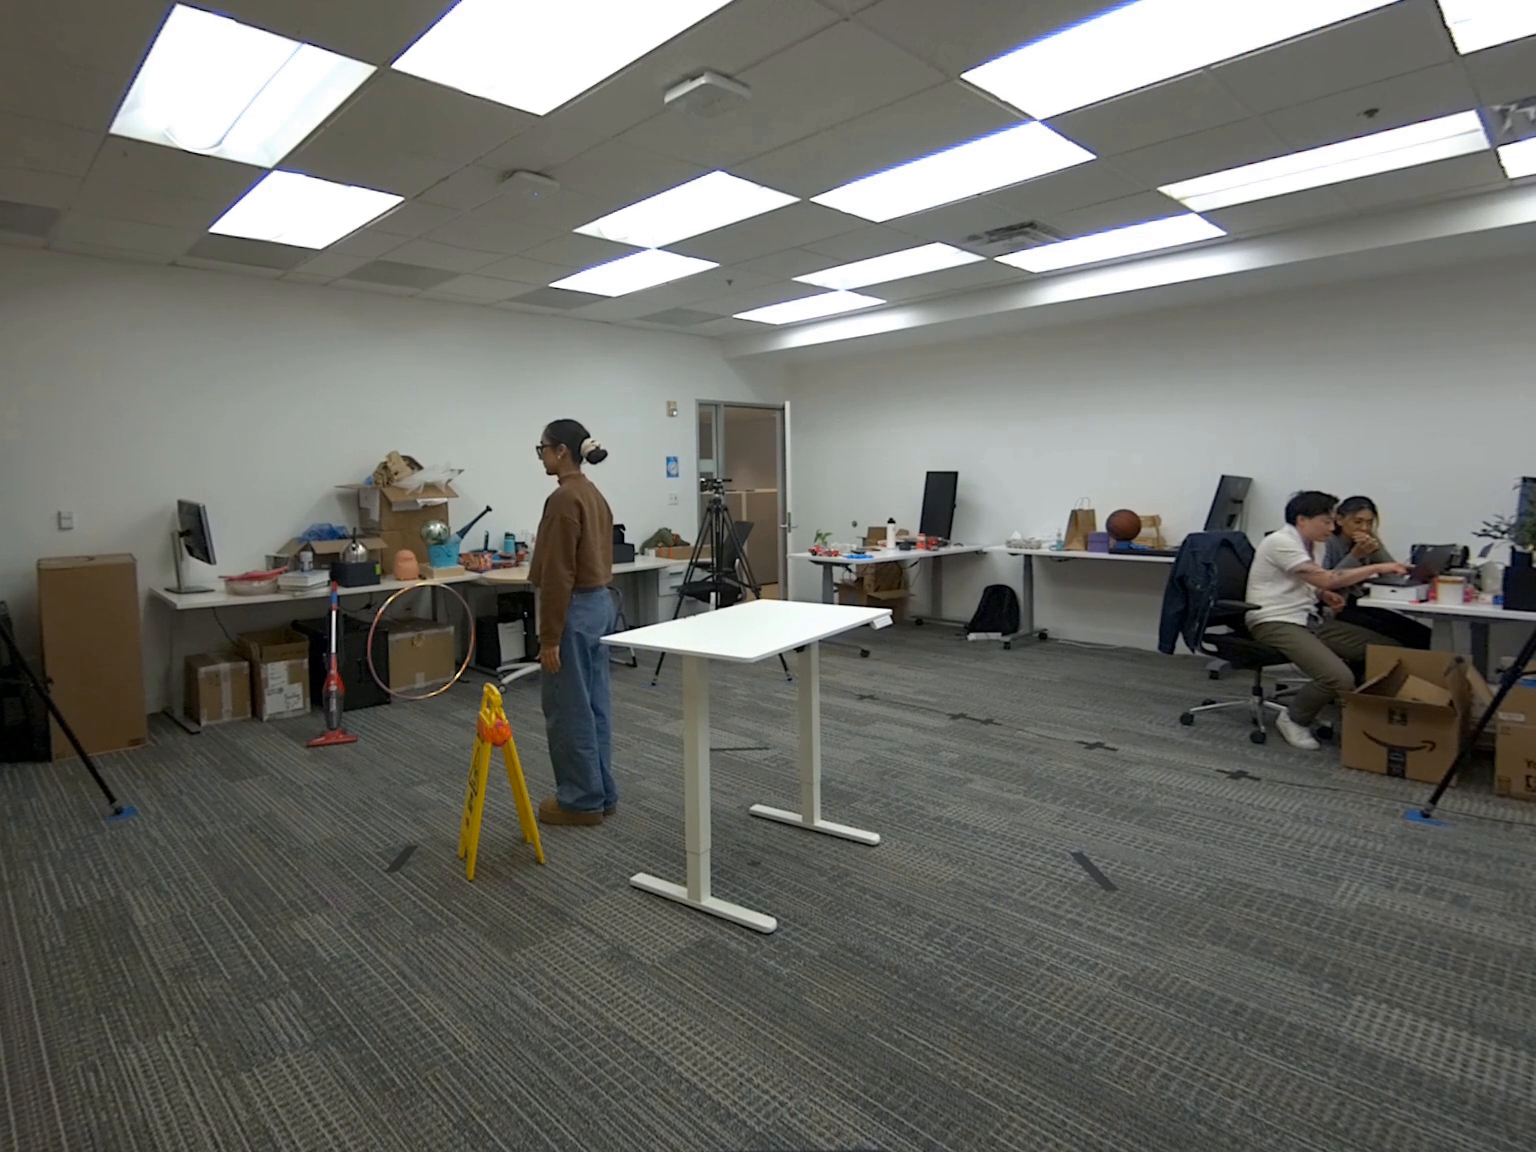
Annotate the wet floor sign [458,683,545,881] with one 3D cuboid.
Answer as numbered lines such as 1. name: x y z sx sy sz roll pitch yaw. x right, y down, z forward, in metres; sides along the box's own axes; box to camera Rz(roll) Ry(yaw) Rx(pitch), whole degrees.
1. wet floor sign: -0.999 0.732 3.170 0.283 0.643 0.290 -4 6 -28
